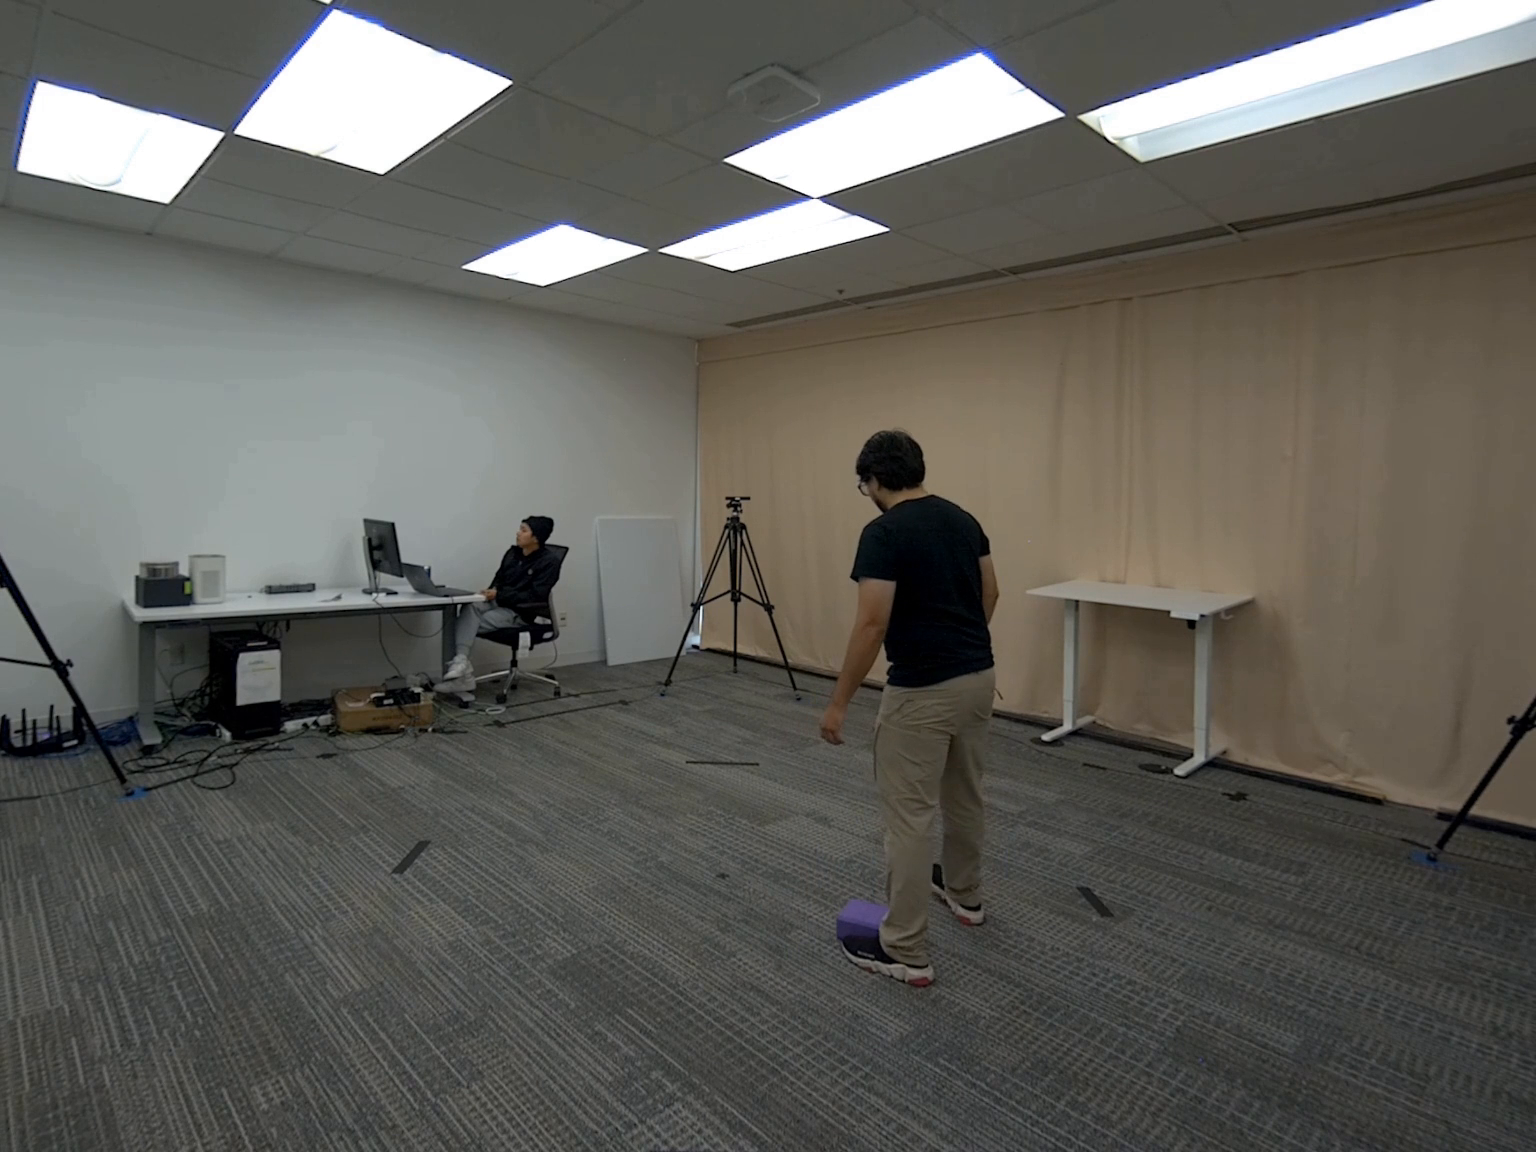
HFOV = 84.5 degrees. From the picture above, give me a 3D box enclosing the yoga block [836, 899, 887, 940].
[{"bbox_3d":[0.344,1.118,2.683,0.234,0.076,0.146,4,7,26],"label":"yoga block"}]
